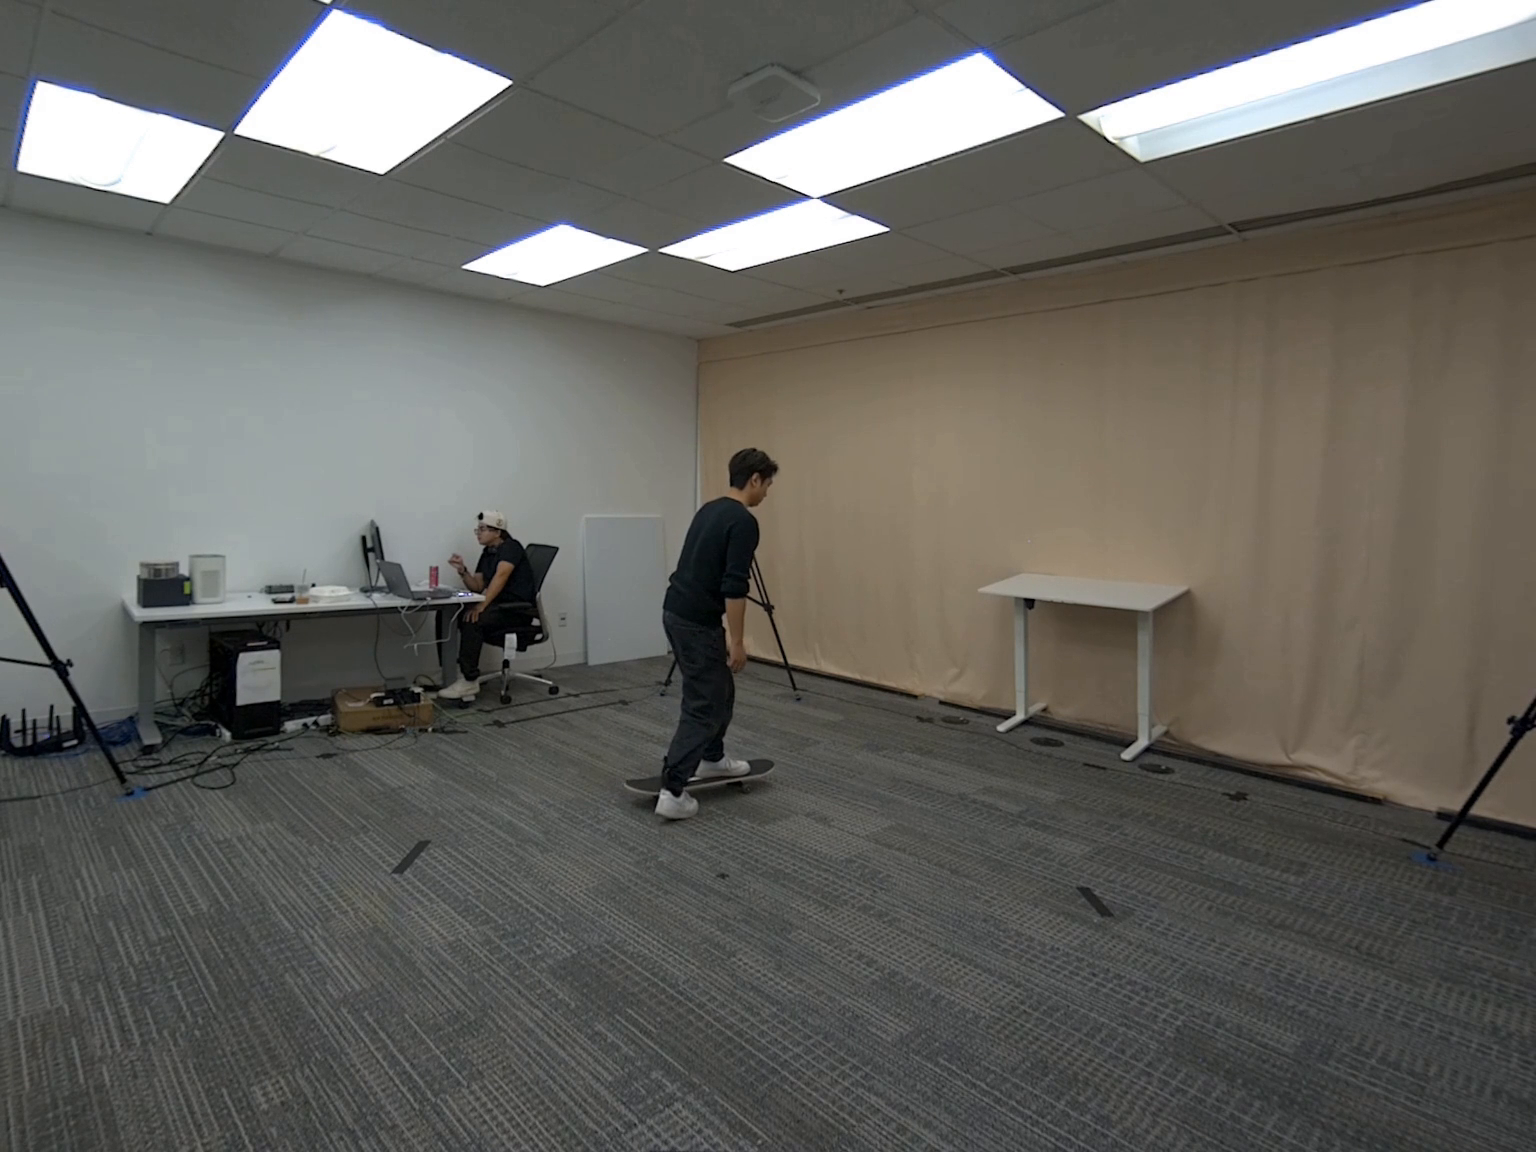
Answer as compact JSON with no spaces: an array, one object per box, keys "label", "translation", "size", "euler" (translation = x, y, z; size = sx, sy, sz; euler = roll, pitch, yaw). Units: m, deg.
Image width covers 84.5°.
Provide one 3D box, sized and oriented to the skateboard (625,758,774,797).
[{"label":"skateboard","translation":[-0.329,0.975,3.951],"size":[0.769,0.110,0.198],"euler":[-2,6,-33]}]
